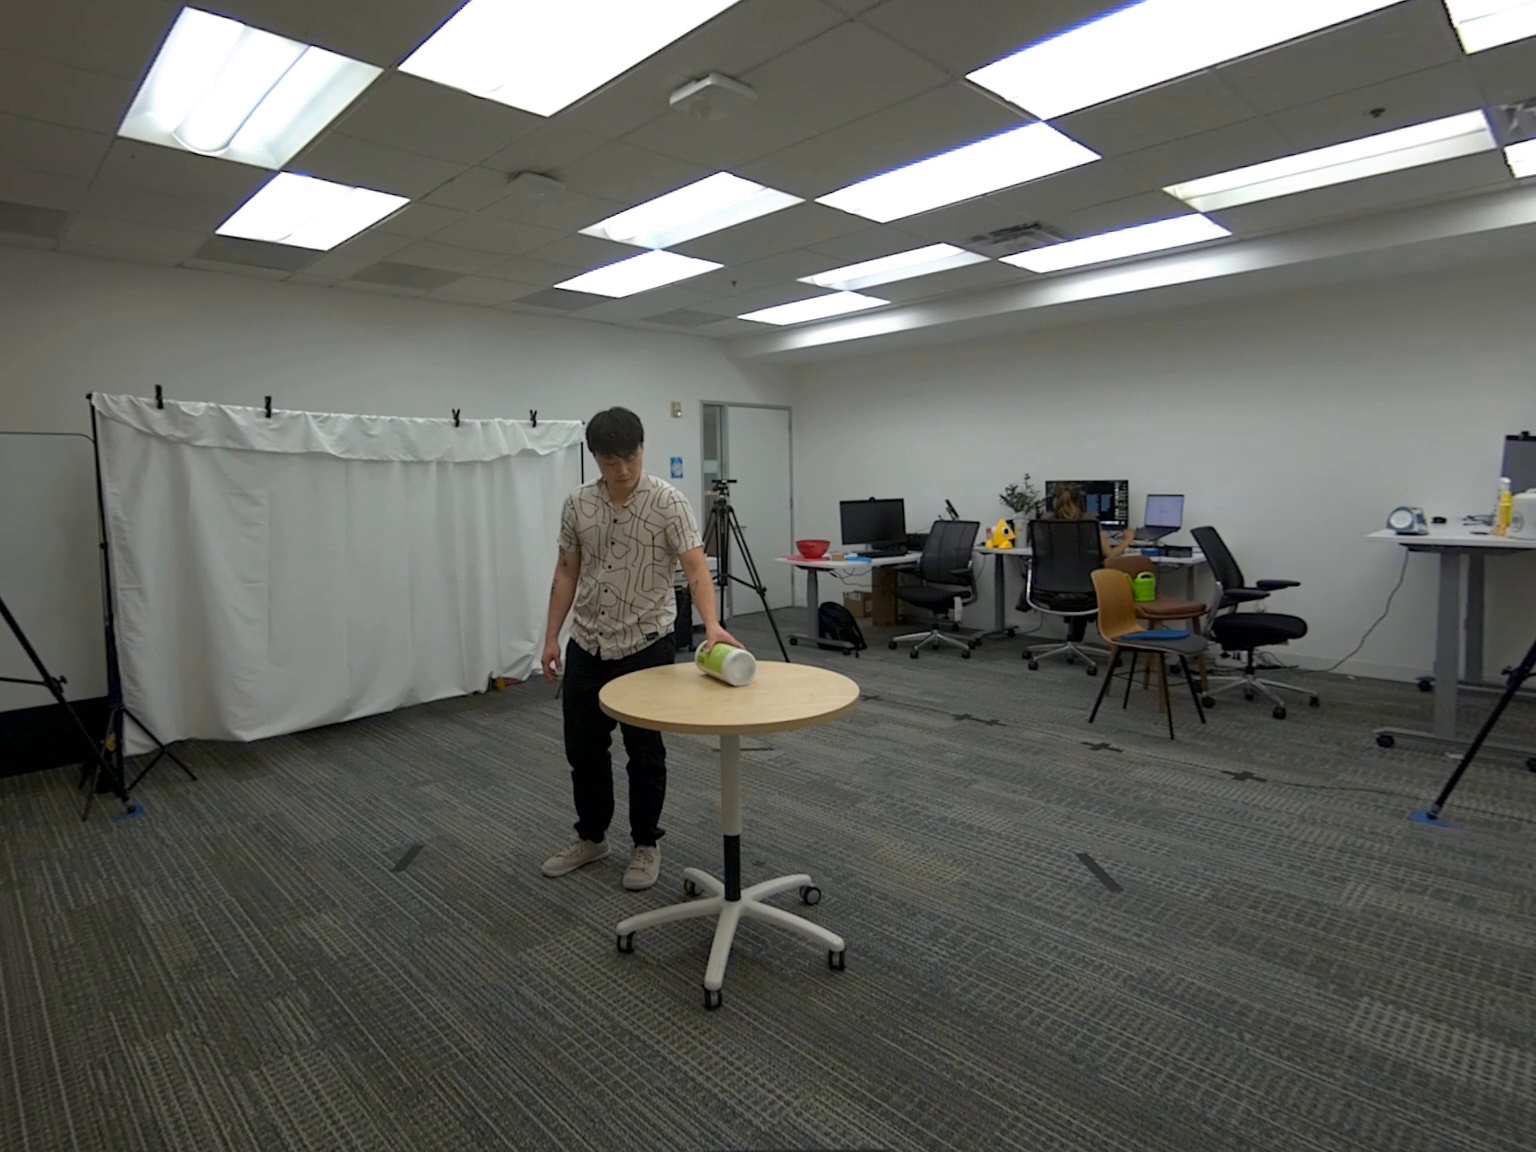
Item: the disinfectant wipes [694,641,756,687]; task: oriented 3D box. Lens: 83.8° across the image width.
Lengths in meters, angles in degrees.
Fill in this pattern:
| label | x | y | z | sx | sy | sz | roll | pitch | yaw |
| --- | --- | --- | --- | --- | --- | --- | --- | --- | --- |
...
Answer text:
| label | x | y | z | sx | sy | sz | roll | pitch | yaw |
| --- | --- | --- | --- | --- | --- | --- | --- | --- | --- |
| disinfectant wipes | -0.134 | 0.266 | 2.633 | 0.115 | 0.117 | 0.223 | -3 | 6 | -28 |
